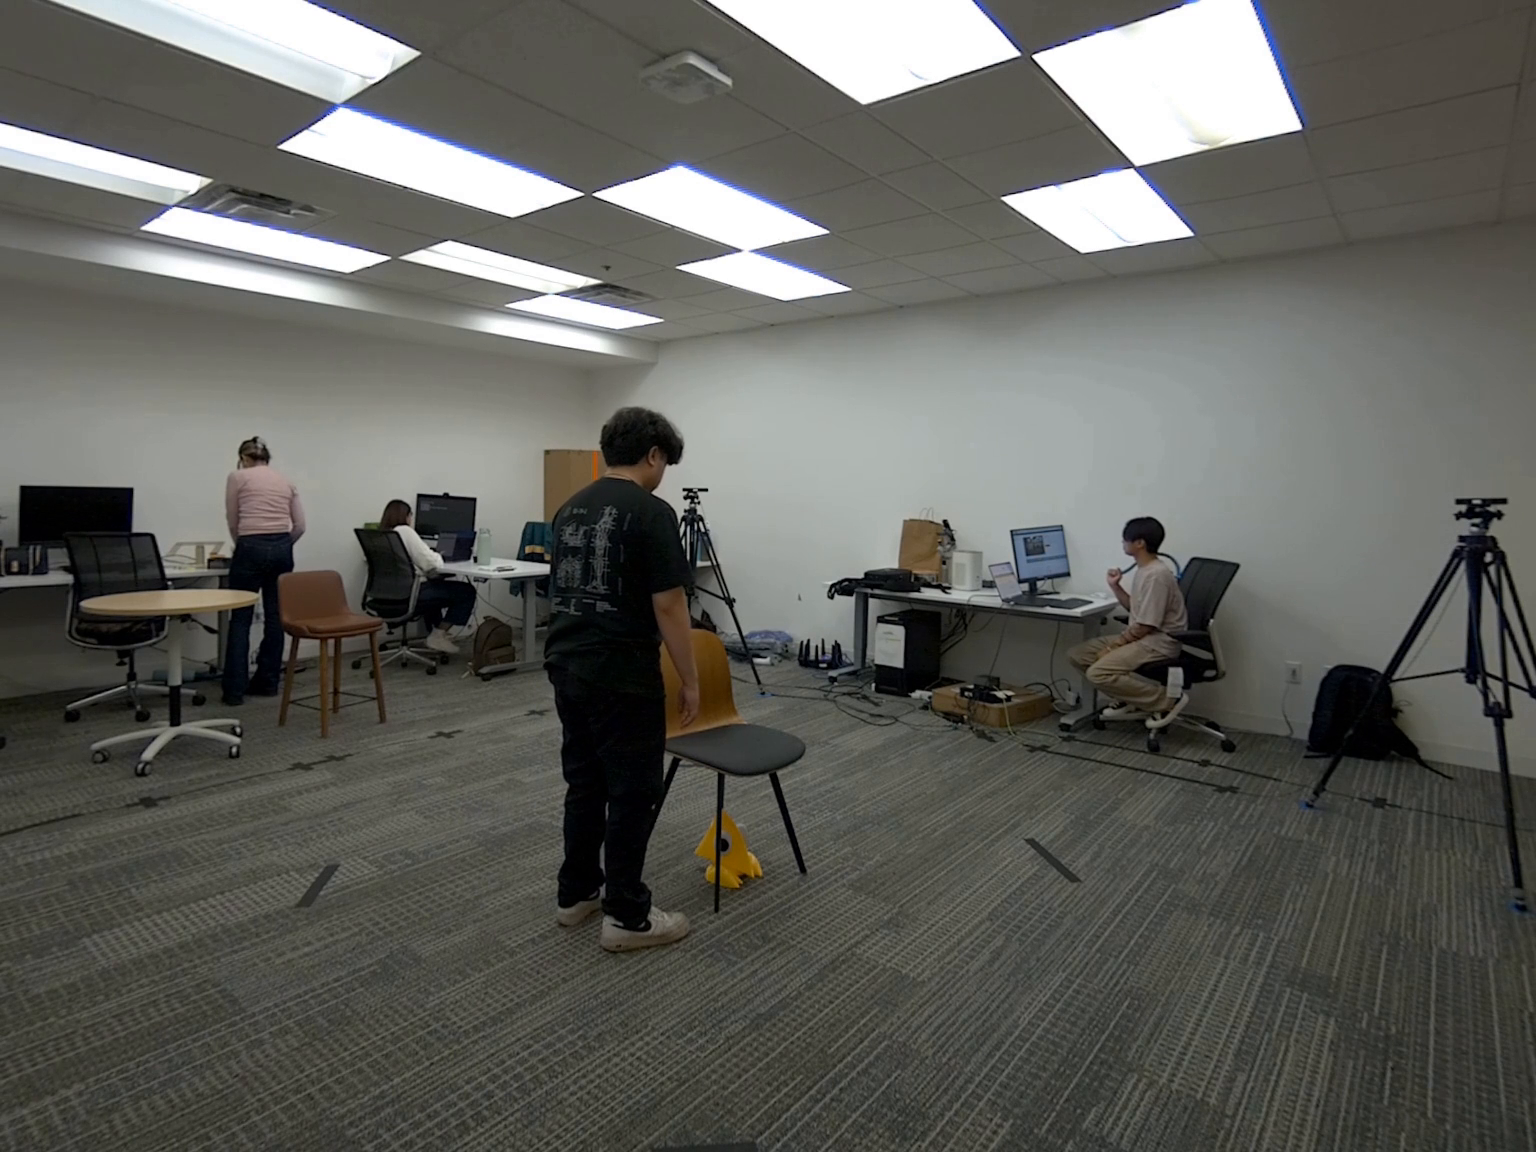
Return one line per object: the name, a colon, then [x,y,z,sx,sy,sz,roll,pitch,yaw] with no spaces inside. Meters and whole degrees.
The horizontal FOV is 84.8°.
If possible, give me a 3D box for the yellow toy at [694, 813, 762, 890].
yellow toy: [-0.137,0.964,3.070,0.200,0.230,0.199,5,6,40]
